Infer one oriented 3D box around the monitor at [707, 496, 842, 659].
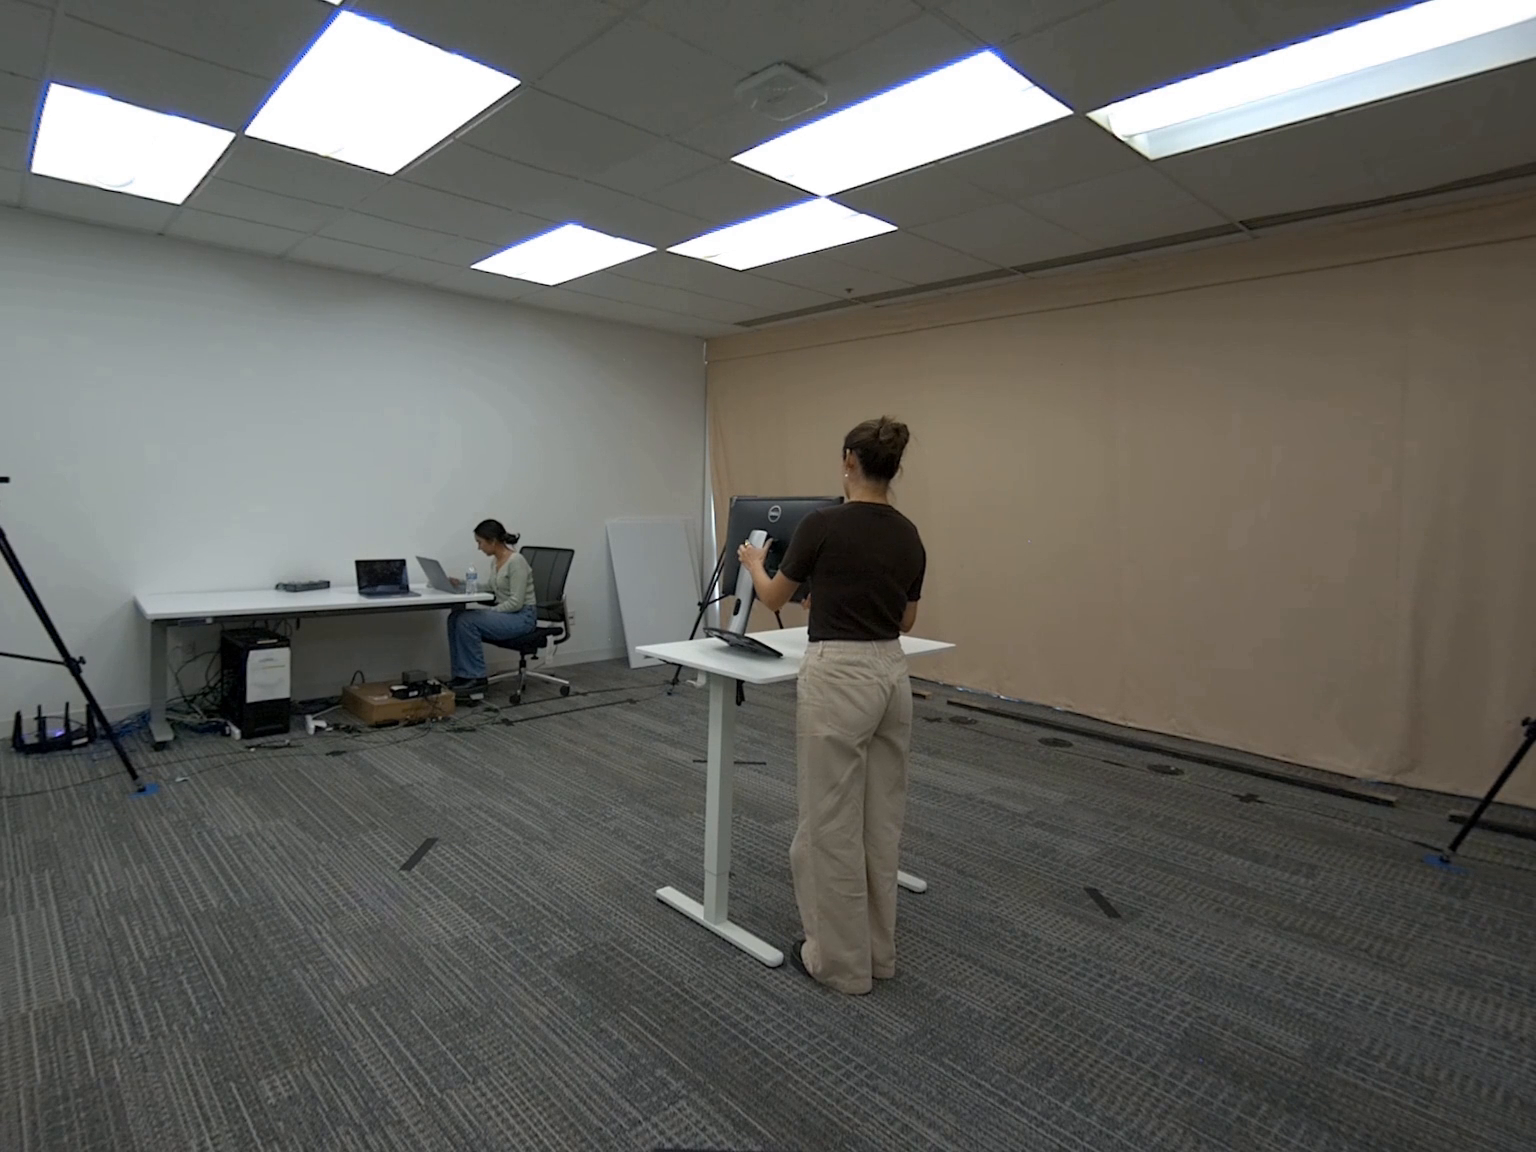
[{"bbox_3d":[-0.017,-0.015,2.792,0.553,0.525,0.181,5,-16,47],"label":"monitor"}]
